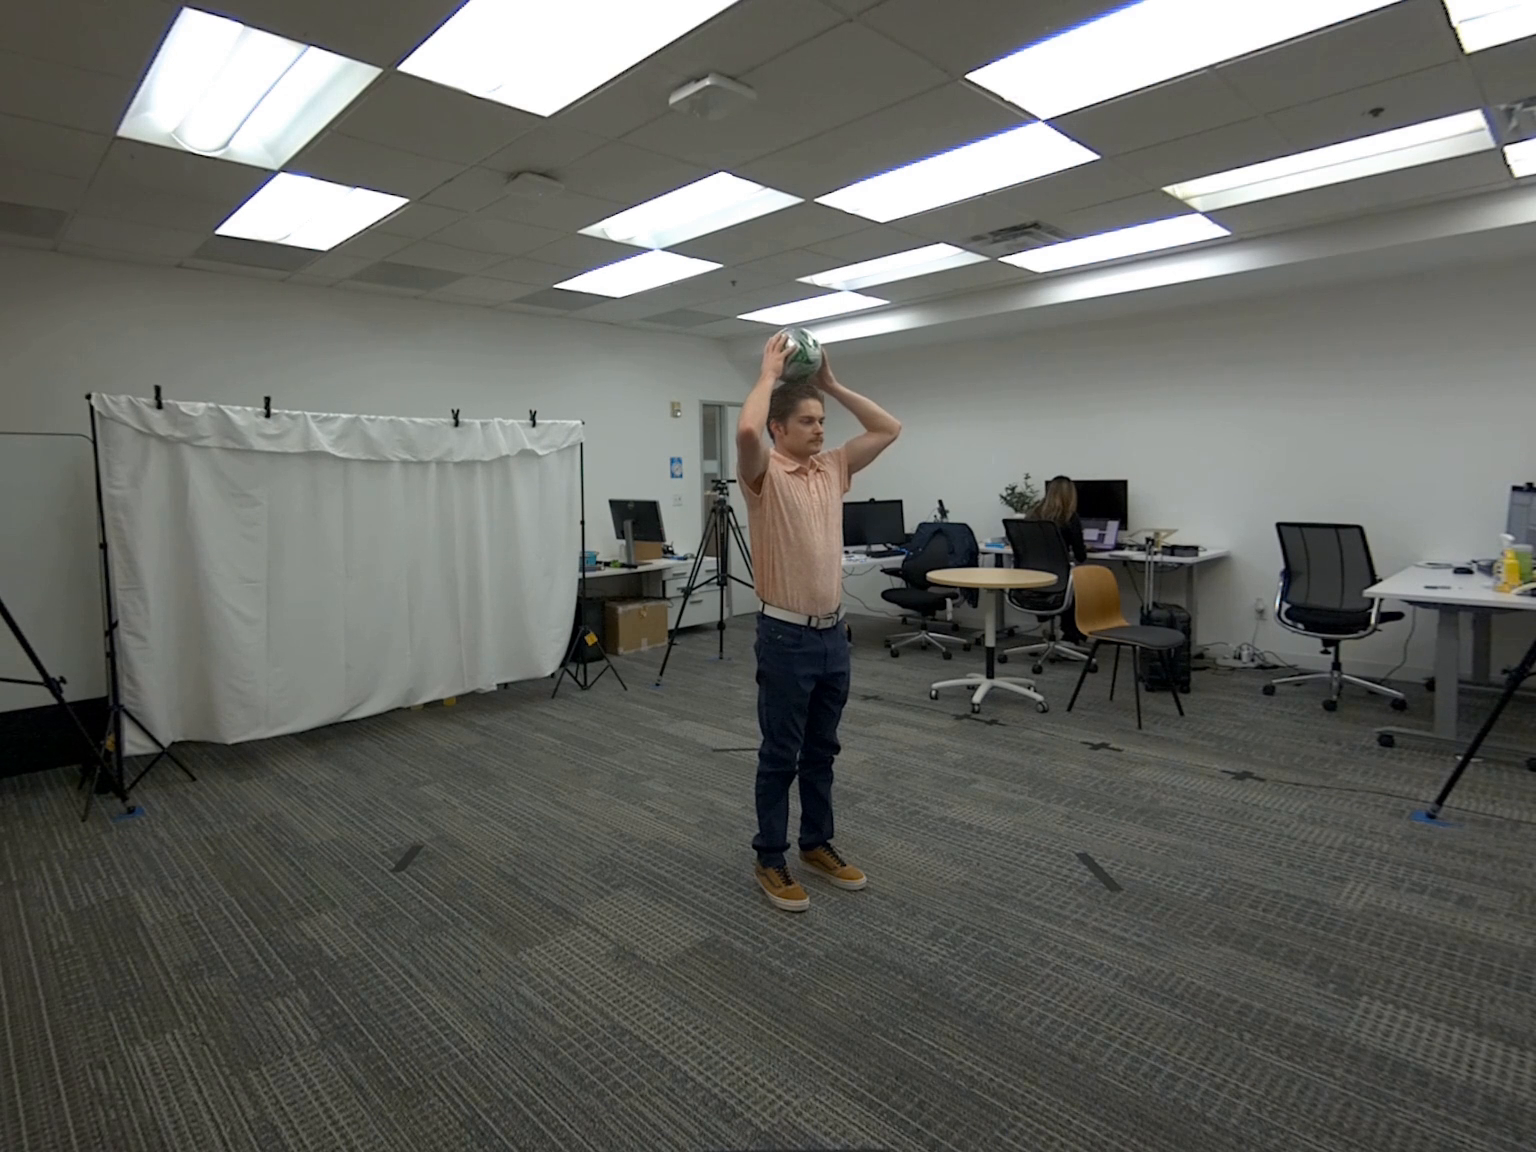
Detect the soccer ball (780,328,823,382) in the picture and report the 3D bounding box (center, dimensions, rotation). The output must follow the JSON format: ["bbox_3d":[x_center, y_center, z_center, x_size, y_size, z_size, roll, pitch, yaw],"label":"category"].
[{"bbox_3d":[0.090,-0.734,2.854,0.187,0.187,0.188,-1,5,-2],"label":"soccer ball"}]
